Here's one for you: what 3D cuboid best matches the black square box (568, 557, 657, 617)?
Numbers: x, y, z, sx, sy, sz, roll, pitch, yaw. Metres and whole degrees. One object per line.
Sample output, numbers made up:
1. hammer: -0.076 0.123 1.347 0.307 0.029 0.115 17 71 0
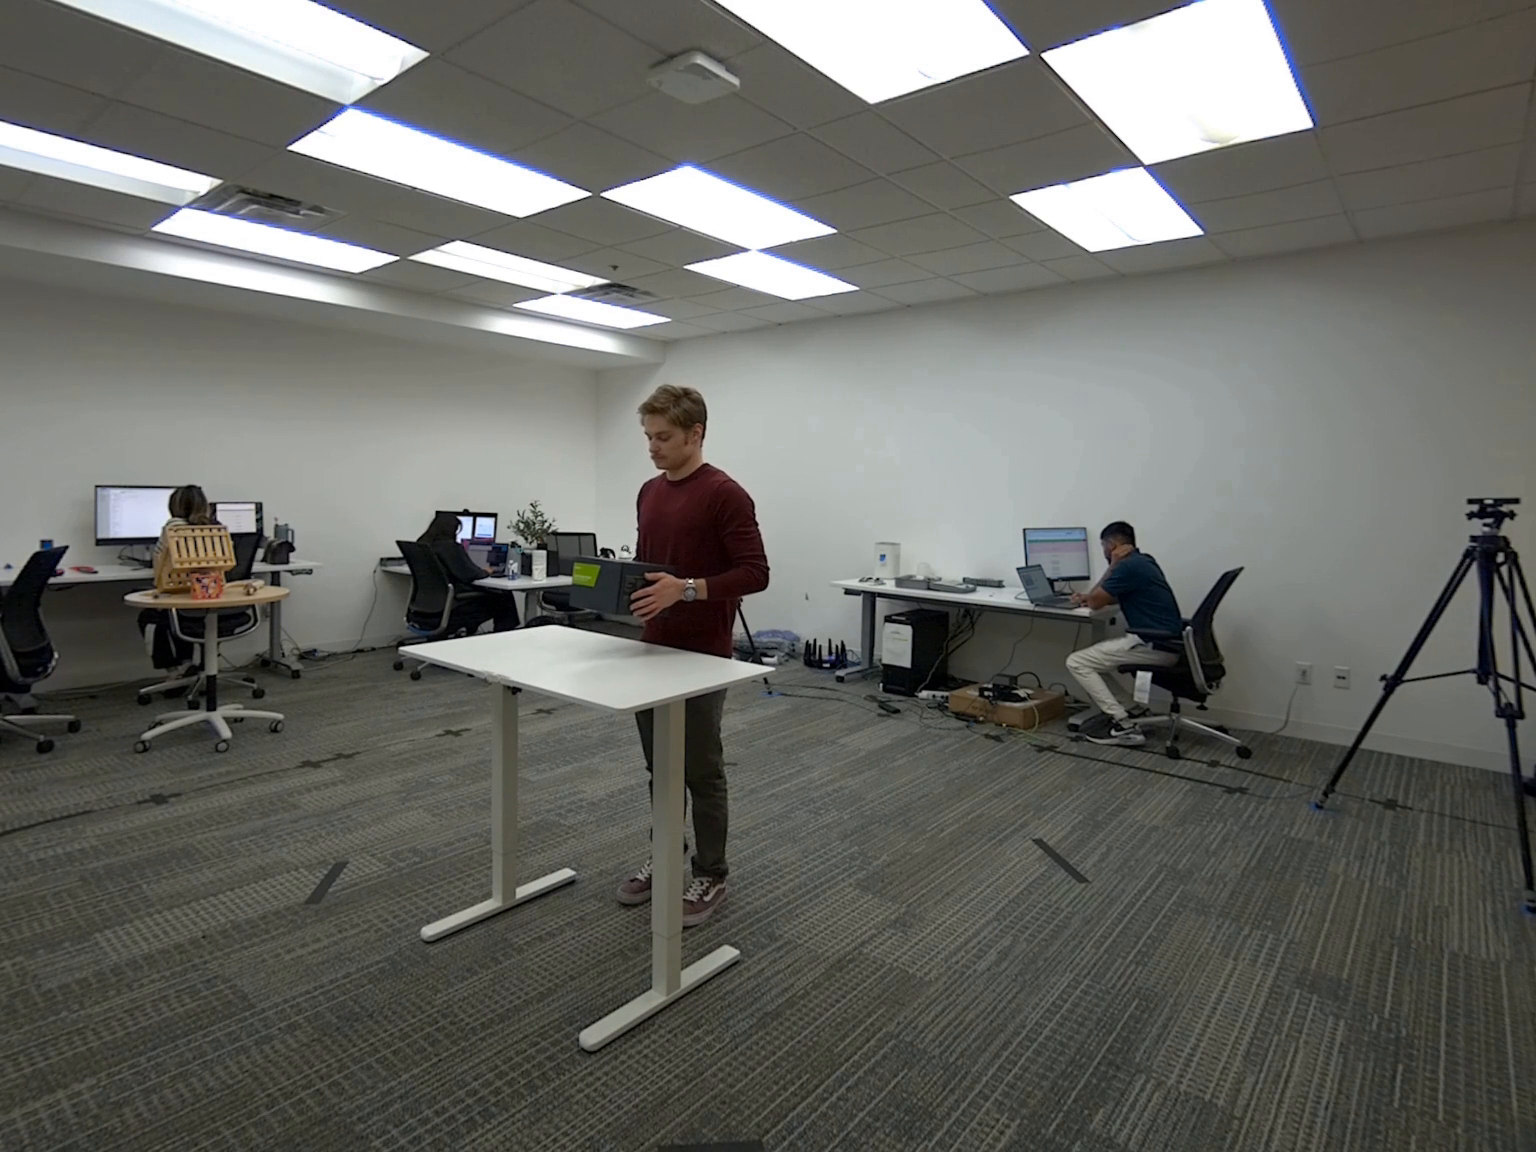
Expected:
1. black square box: -0.466 0.023 2.607 0.236 0.156 0.209 7 1 41
